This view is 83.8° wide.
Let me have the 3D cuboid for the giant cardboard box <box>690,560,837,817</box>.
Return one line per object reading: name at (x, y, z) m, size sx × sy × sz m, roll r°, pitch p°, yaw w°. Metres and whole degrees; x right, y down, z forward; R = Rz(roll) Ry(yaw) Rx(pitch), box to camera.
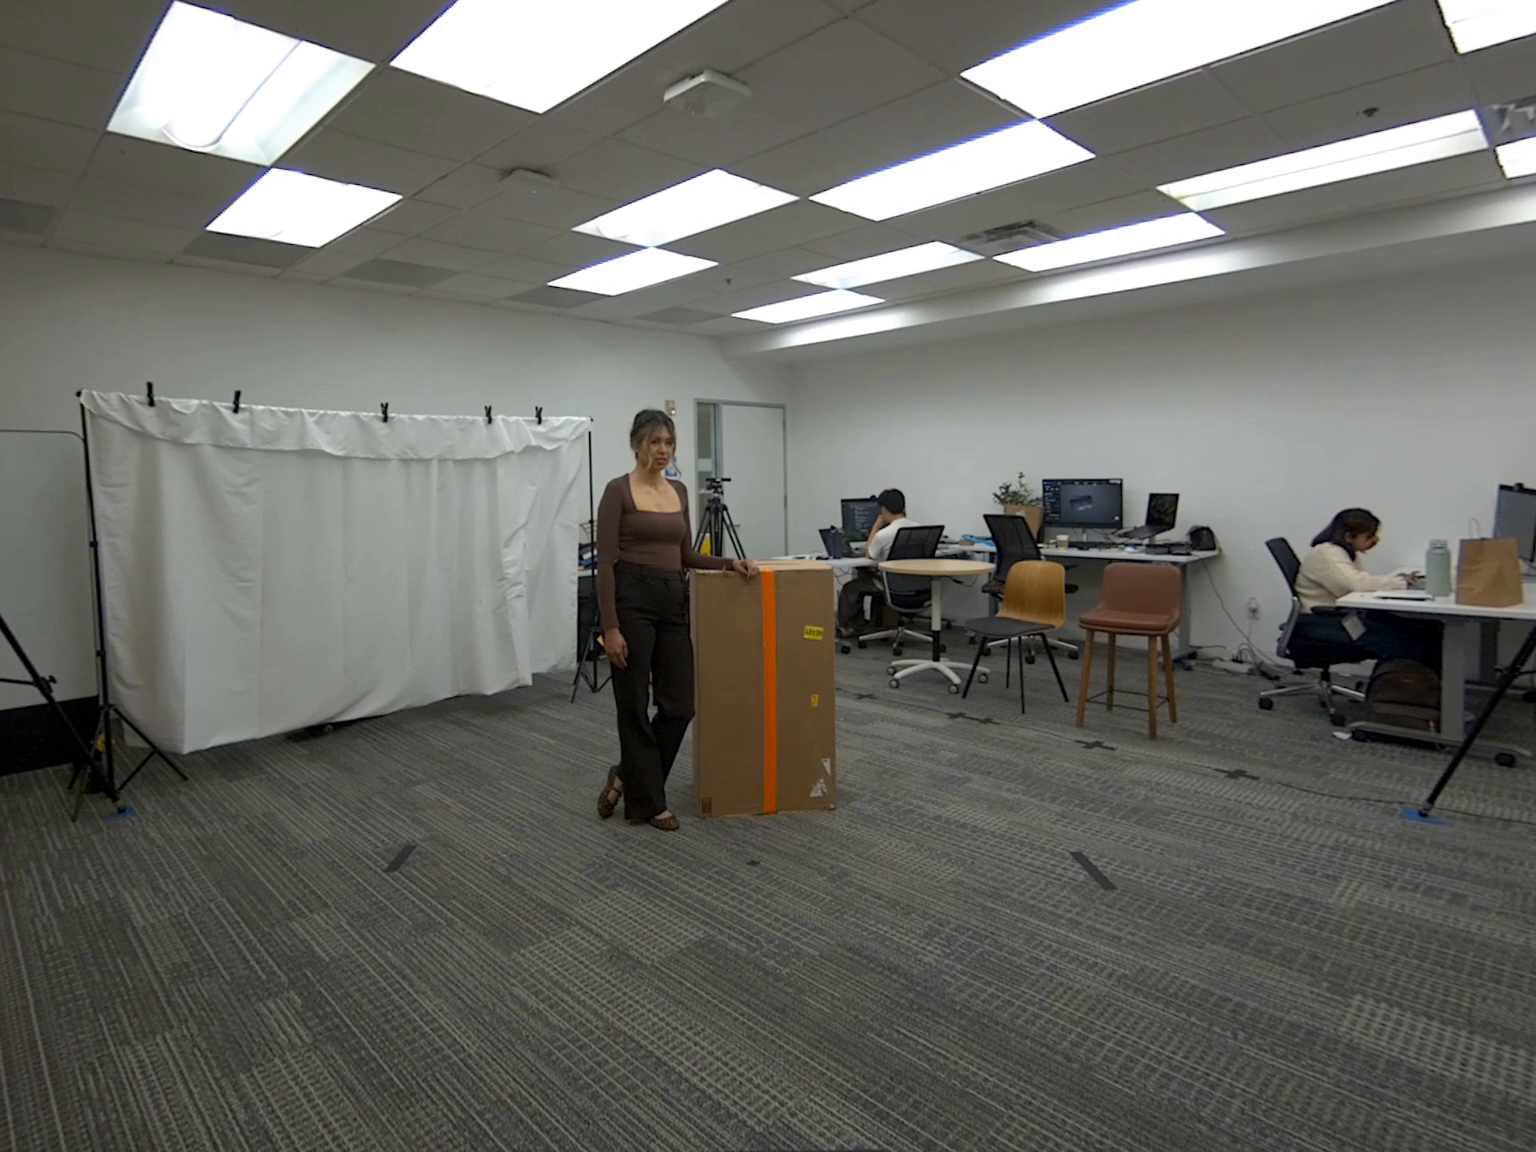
giant cardboard box at (-0.030, 0.462, 3.739) m, size 0.579 × 1.024 × 0.452 m, roll -1°, pitch 4°, yaw -8°
